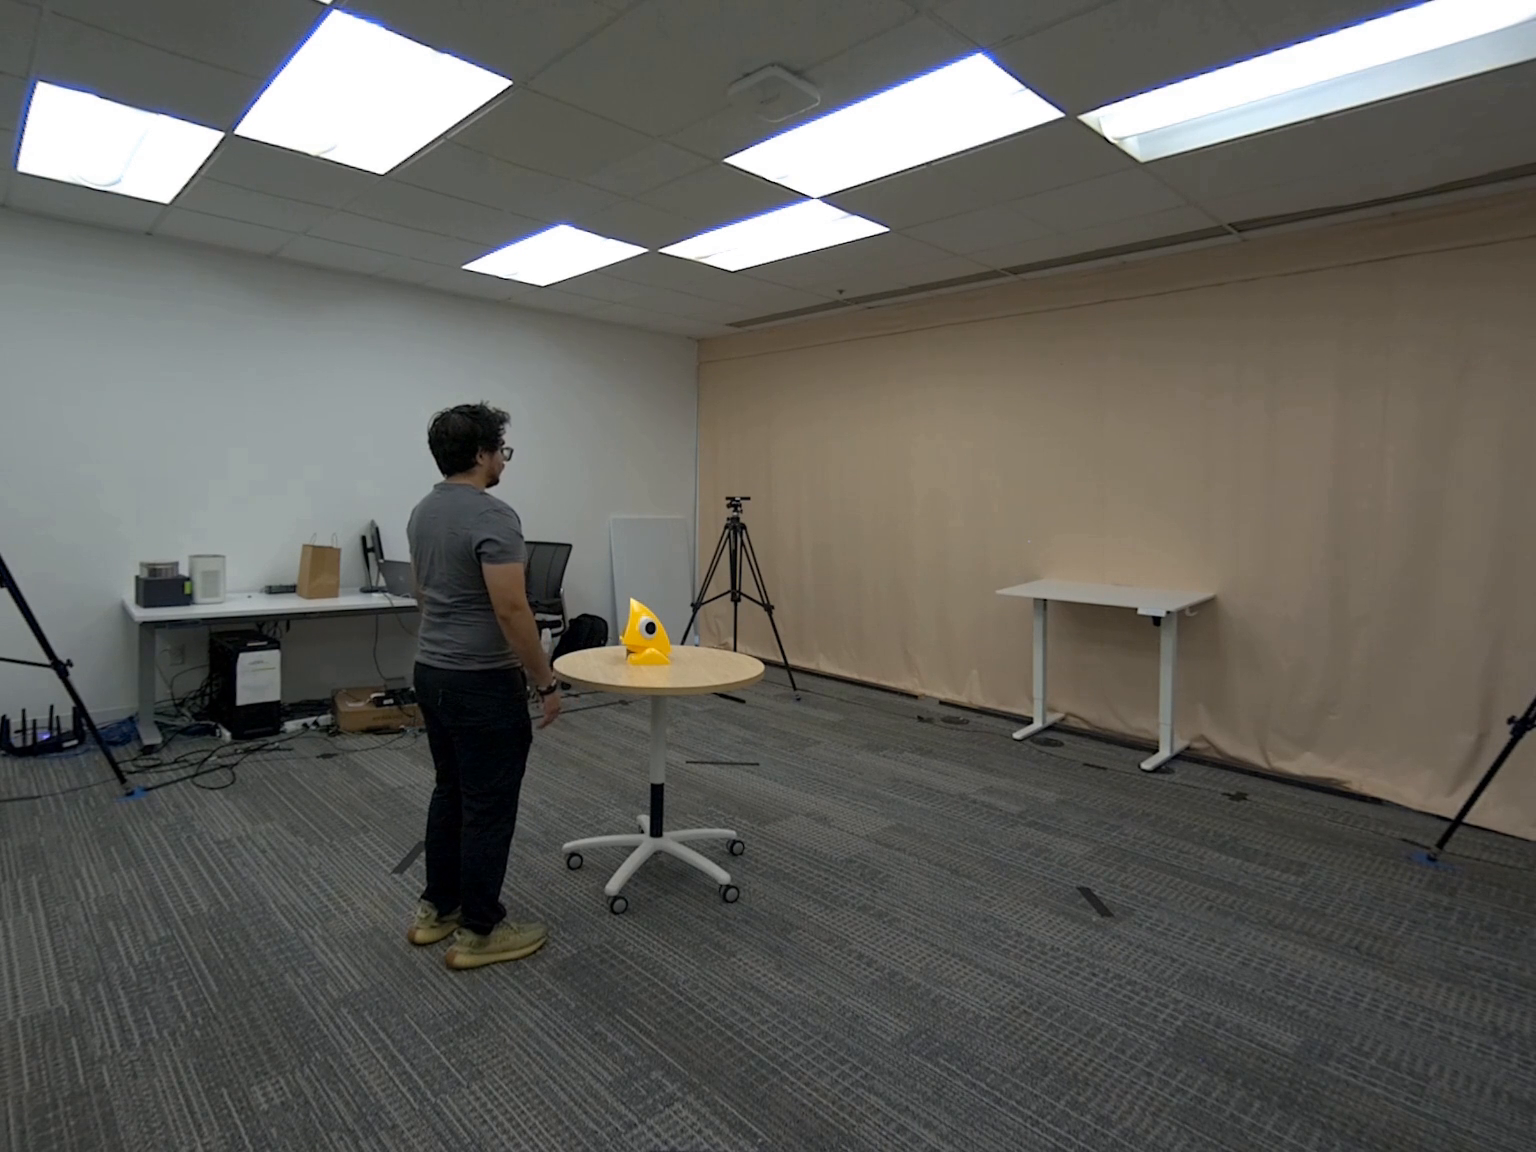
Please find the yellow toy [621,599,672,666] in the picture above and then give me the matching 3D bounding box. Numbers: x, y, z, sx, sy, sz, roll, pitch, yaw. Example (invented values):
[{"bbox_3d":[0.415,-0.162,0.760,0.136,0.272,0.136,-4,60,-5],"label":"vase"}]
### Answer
[{"bbox_3d":[-0.459,0.199,3.129,0.191,0.230,0.207,1,4,-11],"label":"yellow toy"}]
